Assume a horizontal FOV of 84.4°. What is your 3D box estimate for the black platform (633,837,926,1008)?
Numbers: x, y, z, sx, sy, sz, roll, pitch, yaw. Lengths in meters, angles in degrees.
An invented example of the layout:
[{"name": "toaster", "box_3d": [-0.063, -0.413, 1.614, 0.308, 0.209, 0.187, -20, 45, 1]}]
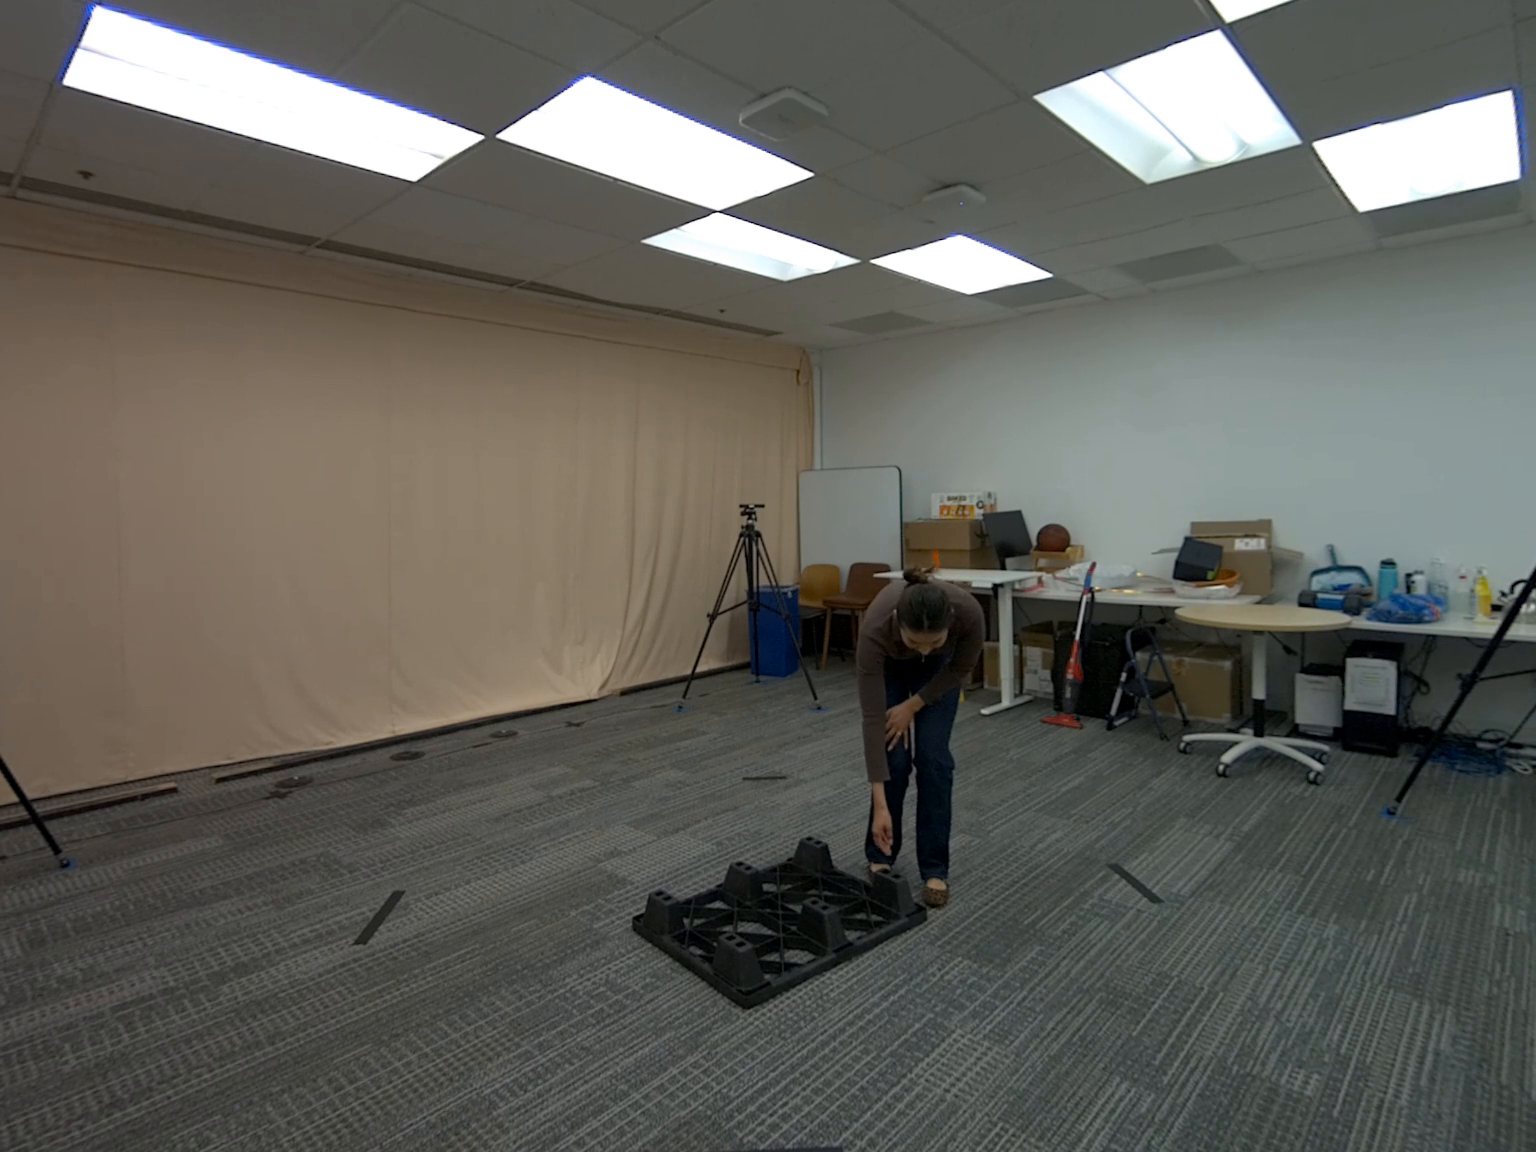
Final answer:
[{"name": "black platform", "box_3d": [0.041, 1.087, 2.791, 0.781, 0.143, 0.625, -5, 6, -40]}]
